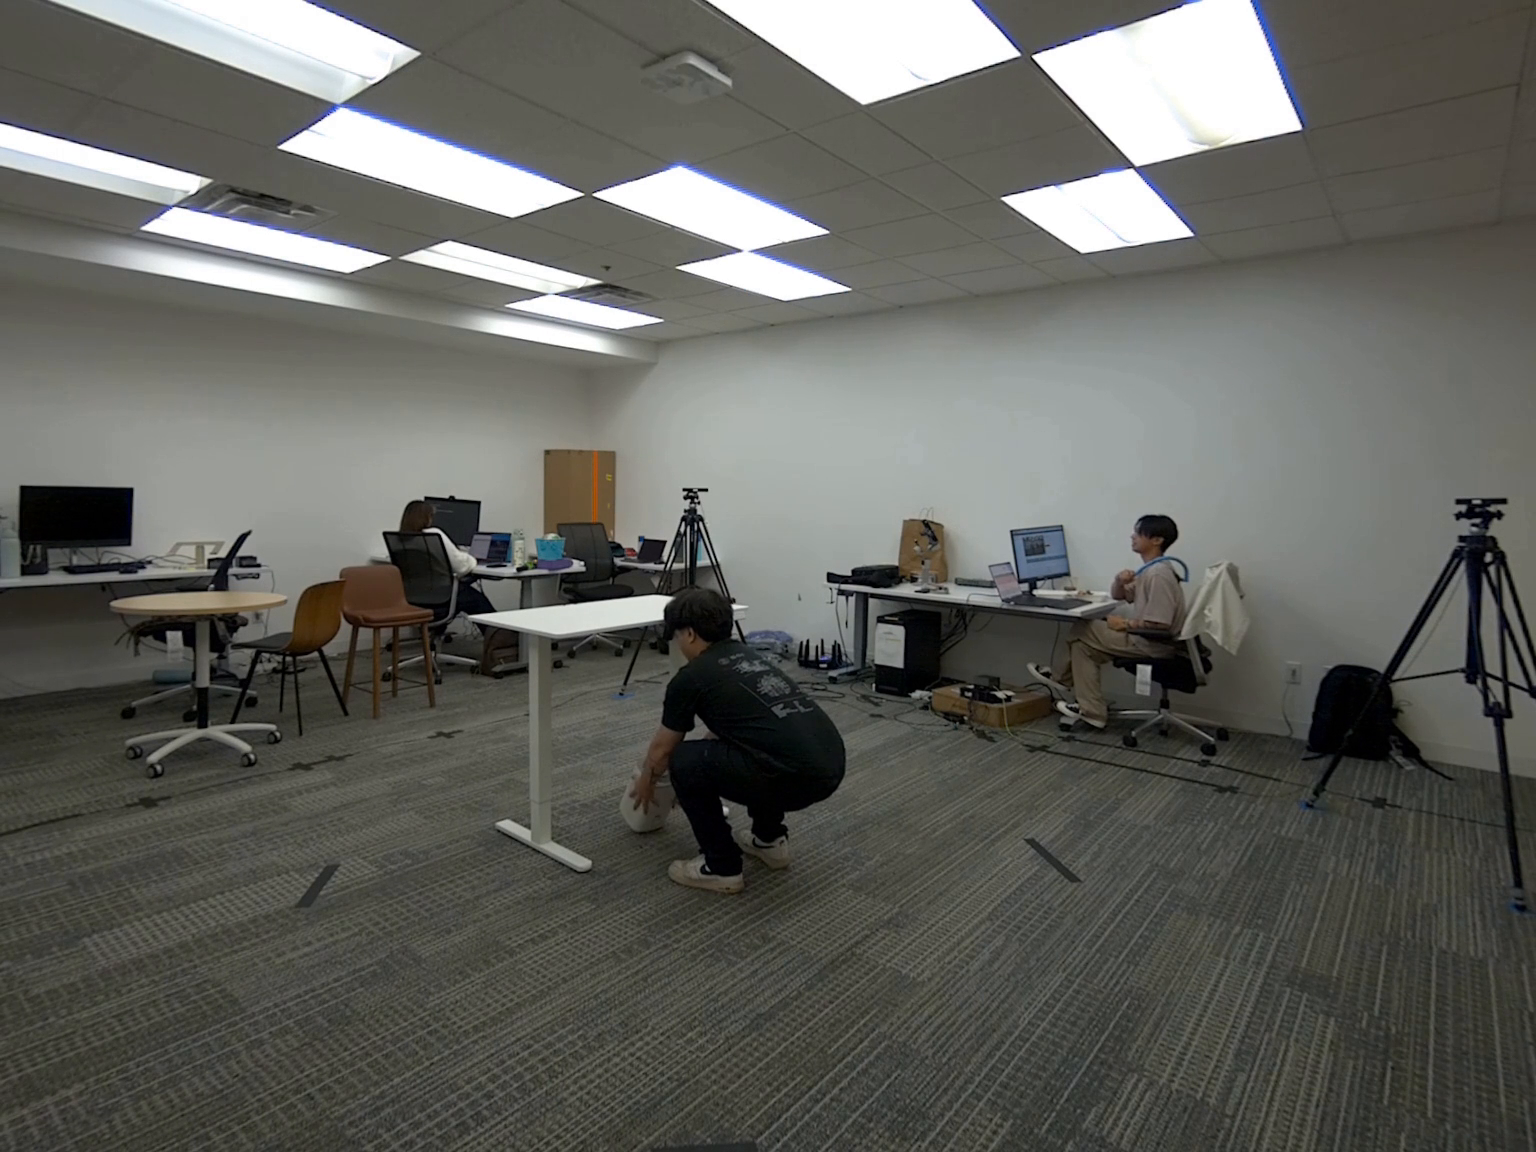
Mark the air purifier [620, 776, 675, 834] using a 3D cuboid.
[{"bbox_3d":[-0.492,0.880,3.452,0.166,0.262,0.179,-3,31,-42],"label":"air purifier"}]
